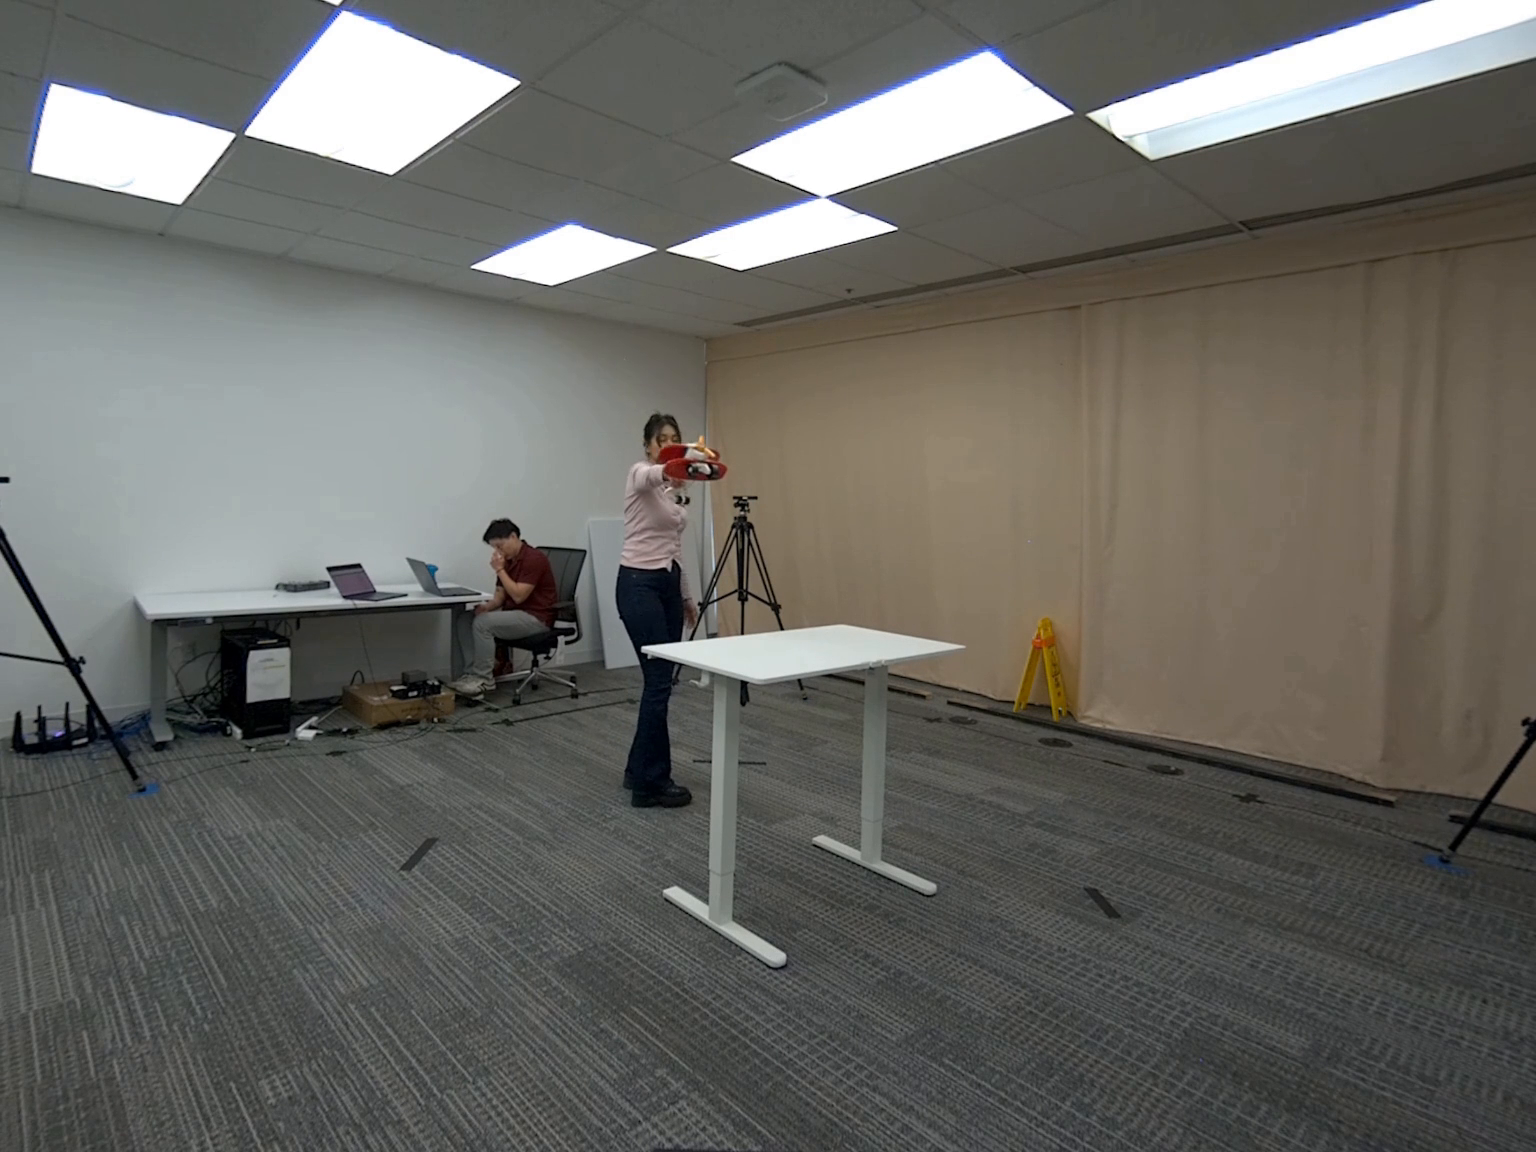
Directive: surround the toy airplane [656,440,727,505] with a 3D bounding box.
[{"bbox_3d":[-0.311,-0.387,3.137,0.261,0.160,0.244,-27,-27,23],"label":"toy airplane"}]
